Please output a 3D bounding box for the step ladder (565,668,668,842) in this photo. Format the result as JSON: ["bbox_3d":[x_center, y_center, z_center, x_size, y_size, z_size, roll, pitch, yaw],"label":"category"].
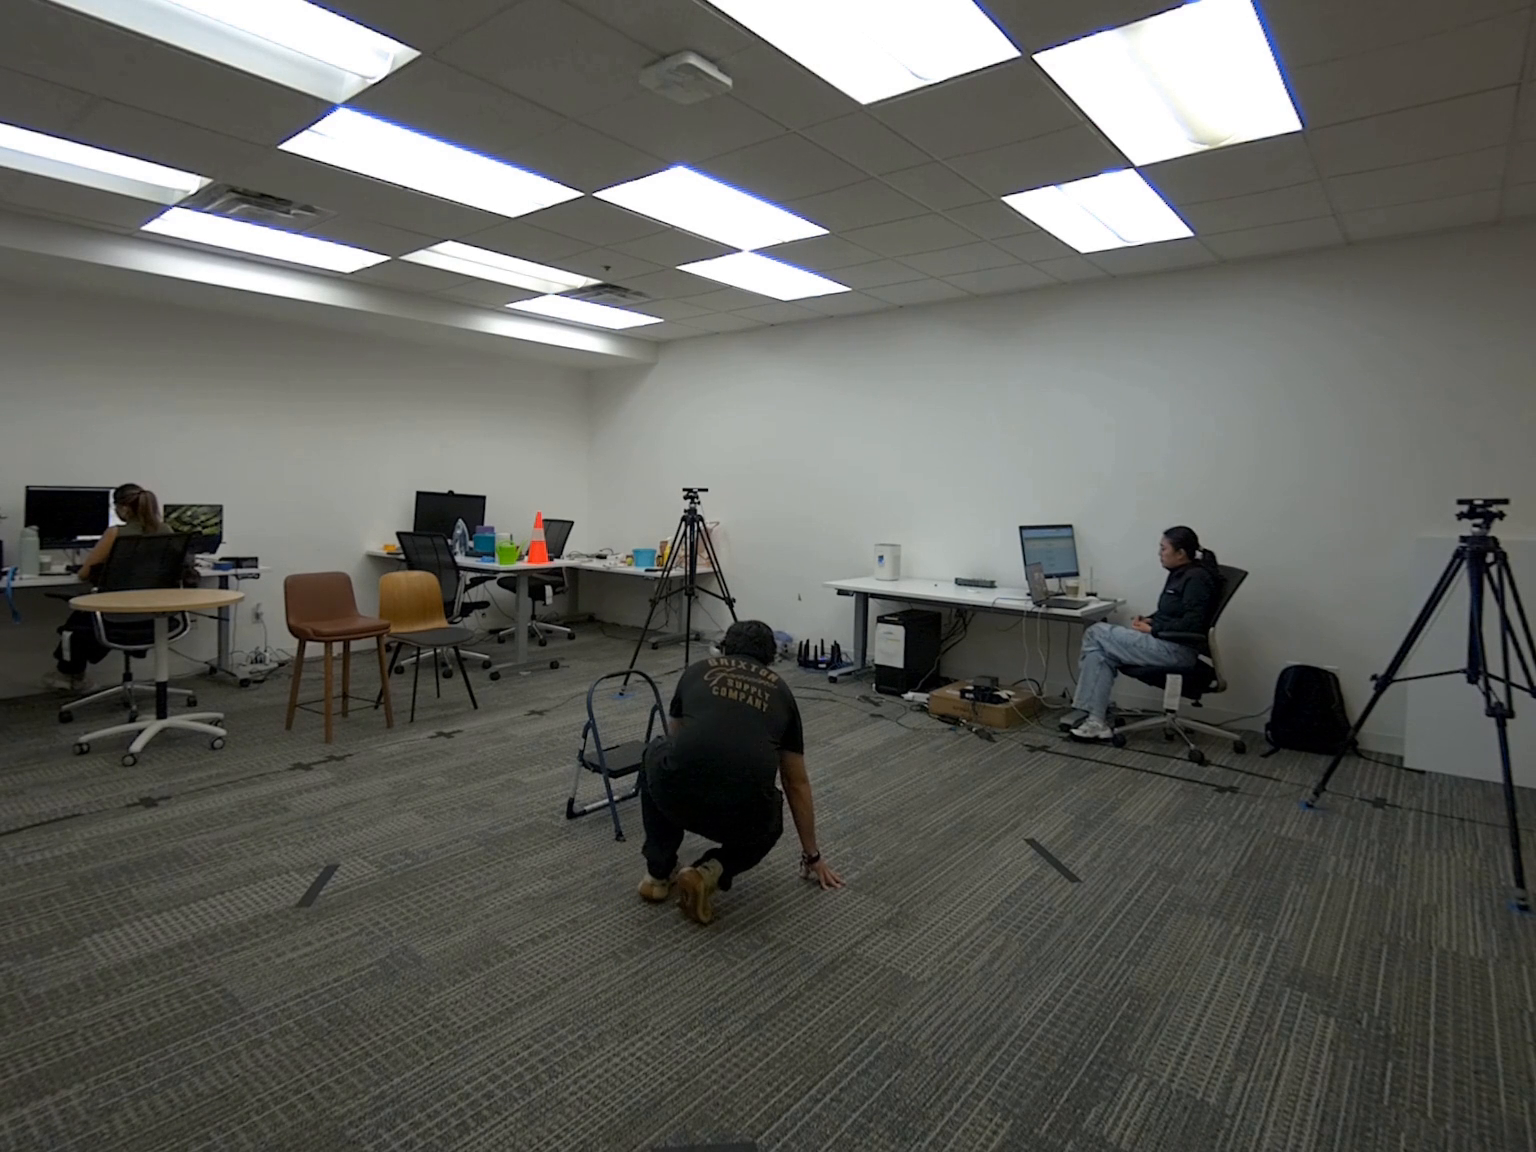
[{"bbox_3d":[-0.596,0.714,3.599,0.361,0.604,0.418,4,4,38],"label":"step ladder"}]
